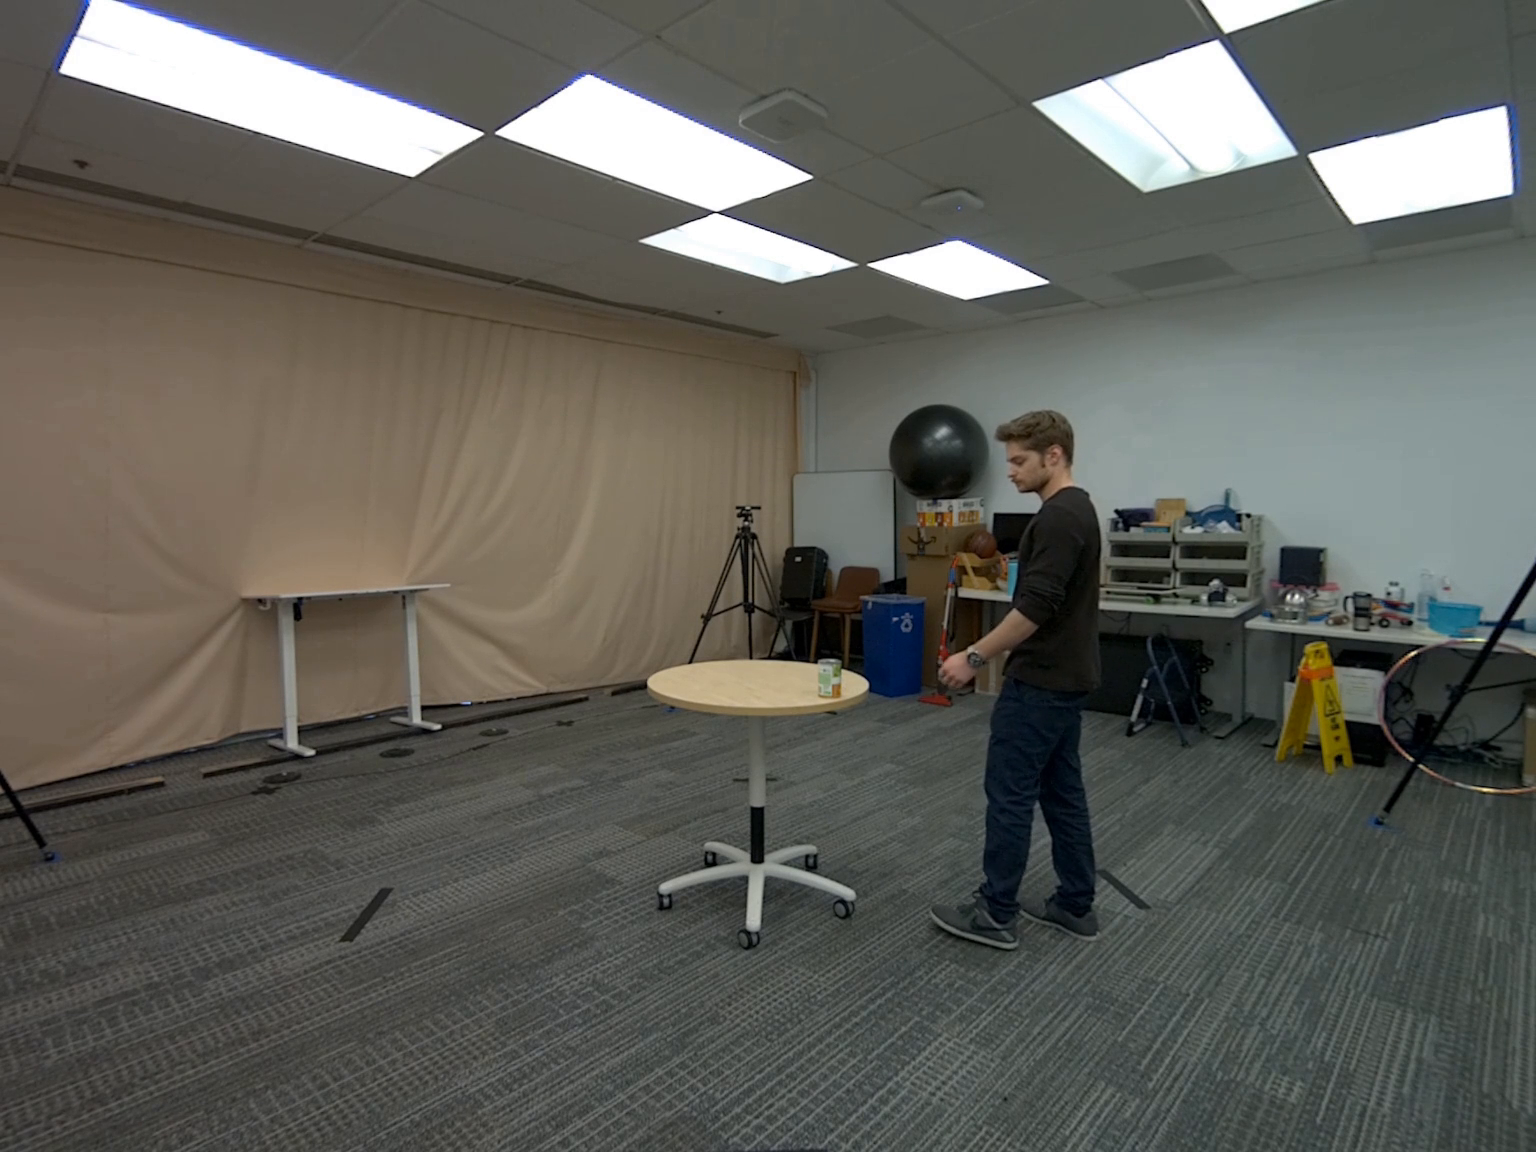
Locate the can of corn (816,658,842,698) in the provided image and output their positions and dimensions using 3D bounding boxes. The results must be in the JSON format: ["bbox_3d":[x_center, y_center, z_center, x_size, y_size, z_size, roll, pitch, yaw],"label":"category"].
[{"bbox_3d":[0.207,0.333,2.691,0.074,0.111,0.074,2,3,-2],"label":"can of corn"}]
